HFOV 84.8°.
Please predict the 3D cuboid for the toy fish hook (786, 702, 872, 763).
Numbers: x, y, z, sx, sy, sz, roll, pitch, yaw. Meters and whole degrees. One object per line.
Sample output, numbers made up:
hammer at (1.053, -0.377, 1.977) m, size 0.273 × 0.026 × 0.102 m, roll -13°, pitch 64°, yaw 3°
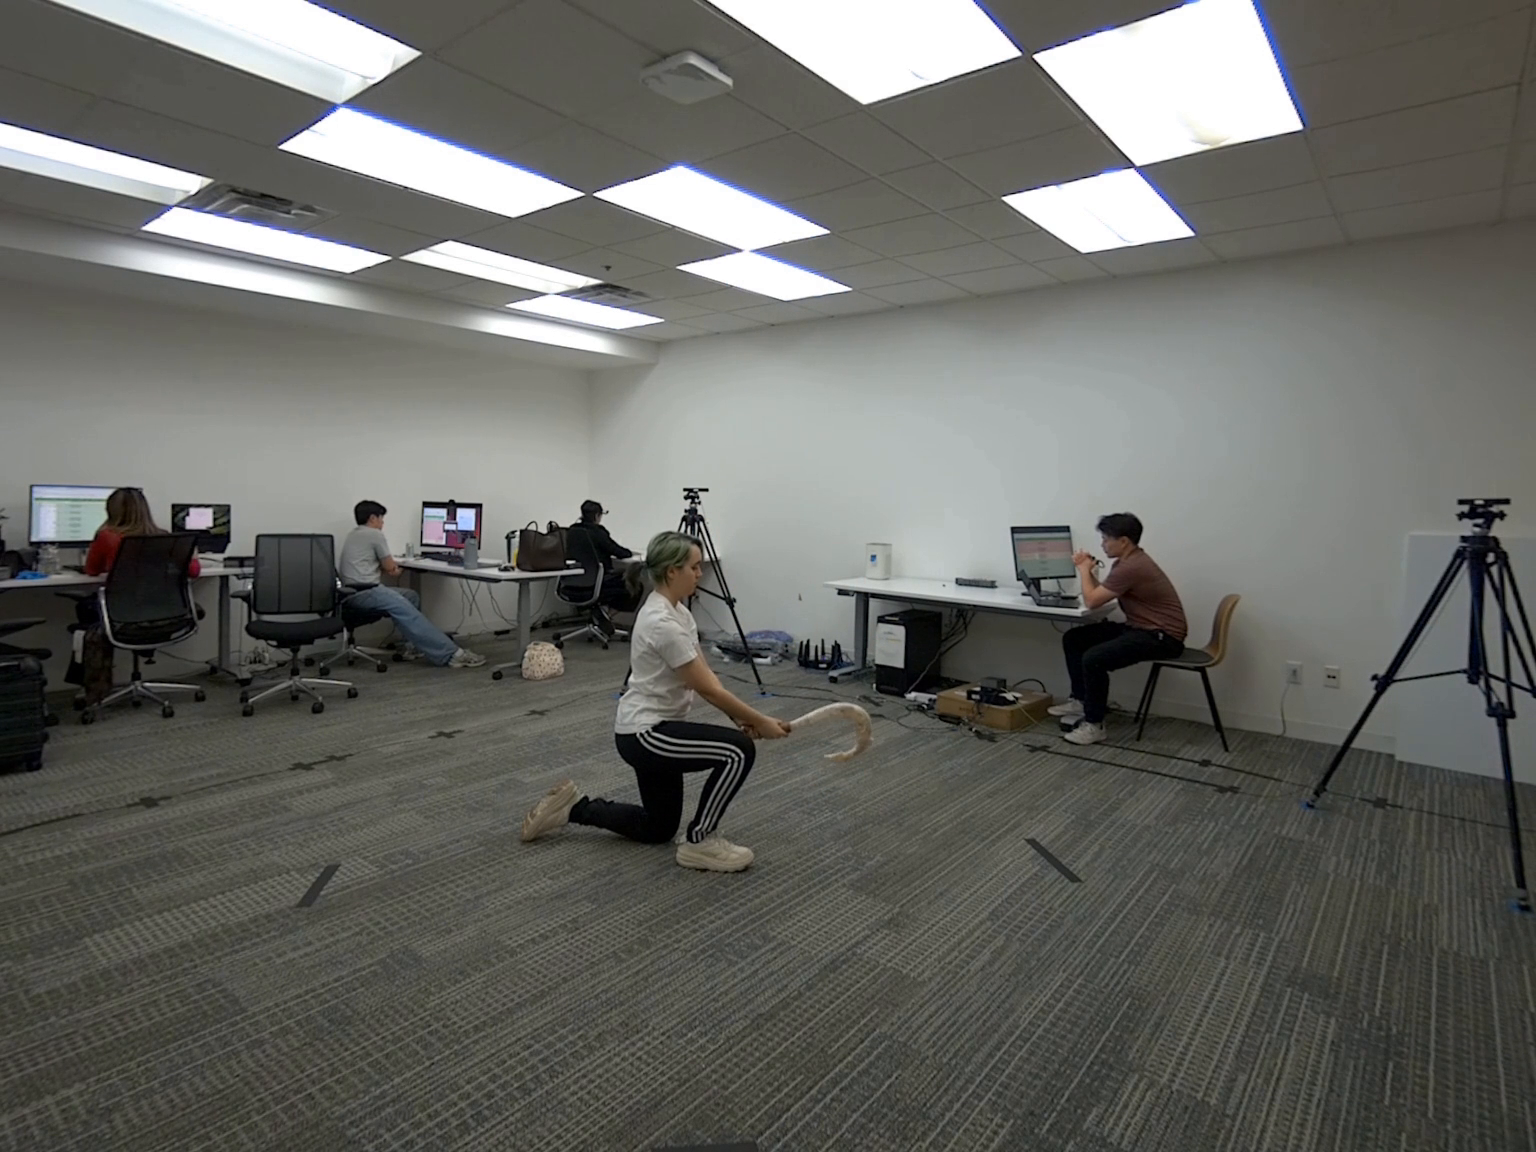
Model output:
toy fish hook at (0.145, 0.611, 3.274) m, size 0.510 × 0.226 × 0.048 m, roll -8°, pitch -6°, yaw 7°
